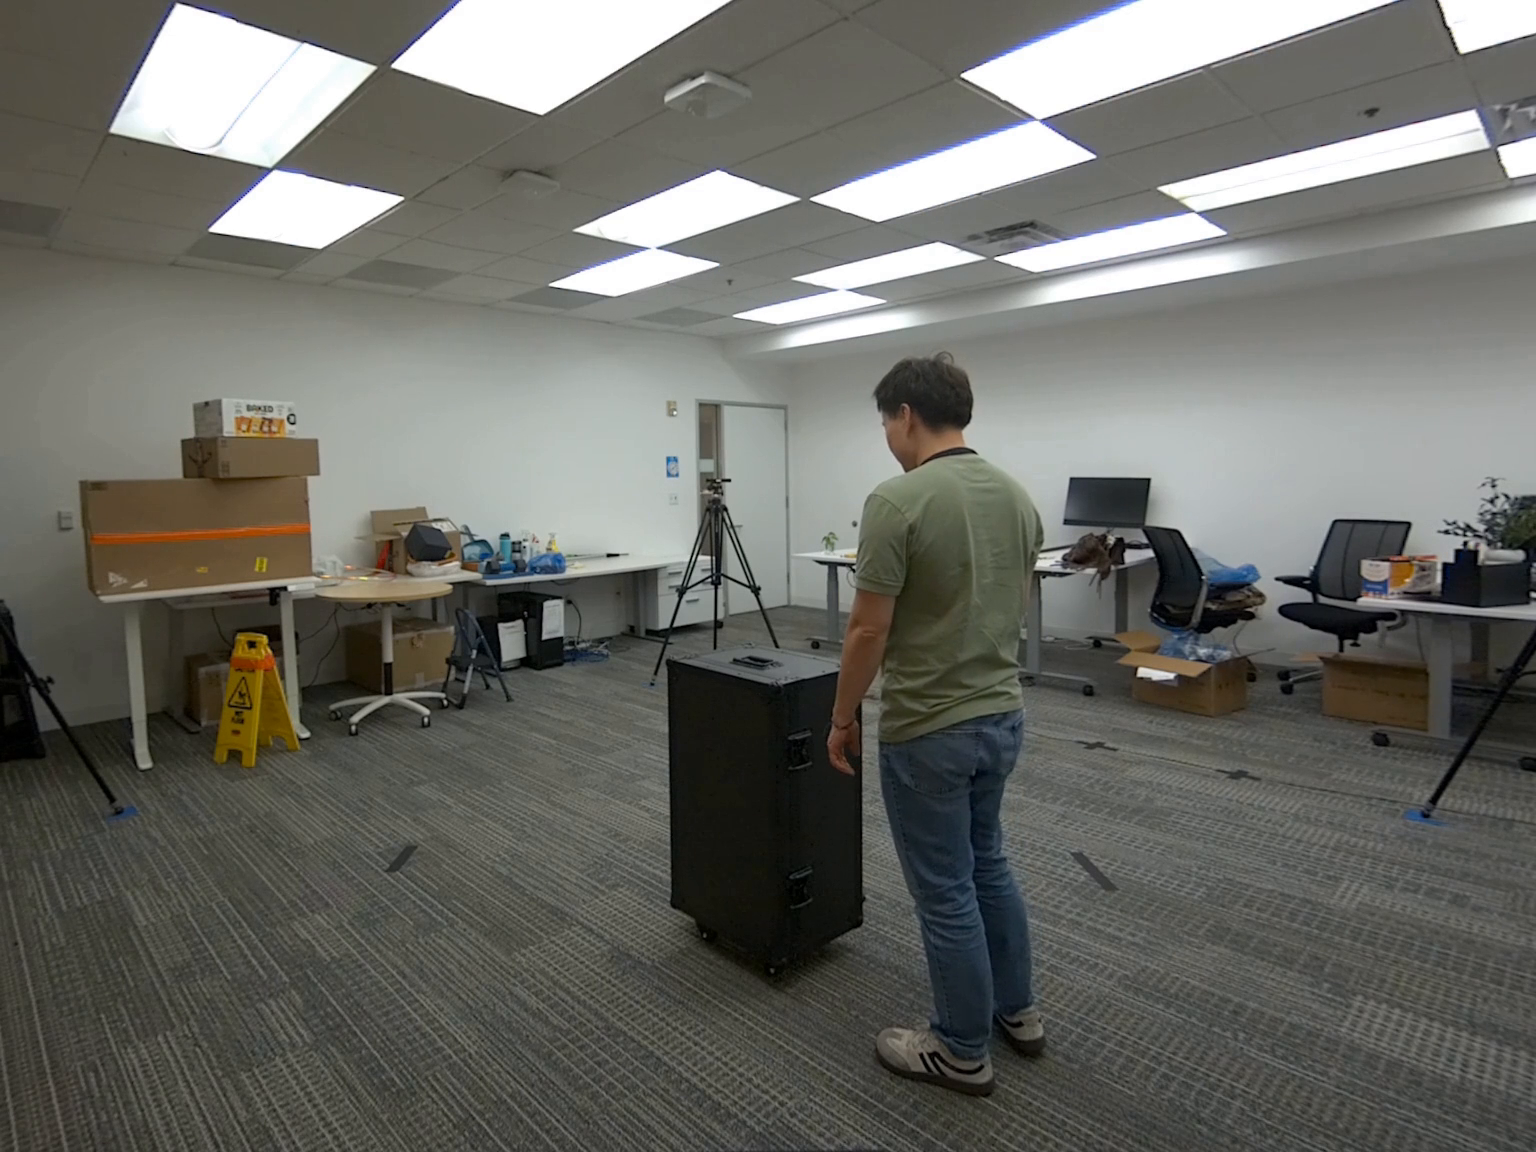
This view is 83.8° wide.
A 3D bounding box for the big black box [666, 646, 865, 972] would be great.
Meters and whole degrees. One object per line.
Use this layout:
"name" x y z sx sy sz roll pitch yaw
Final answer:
"big black box" -0.007 0.678 2.588 0.385 0.859 0.537 -3 5 -43
